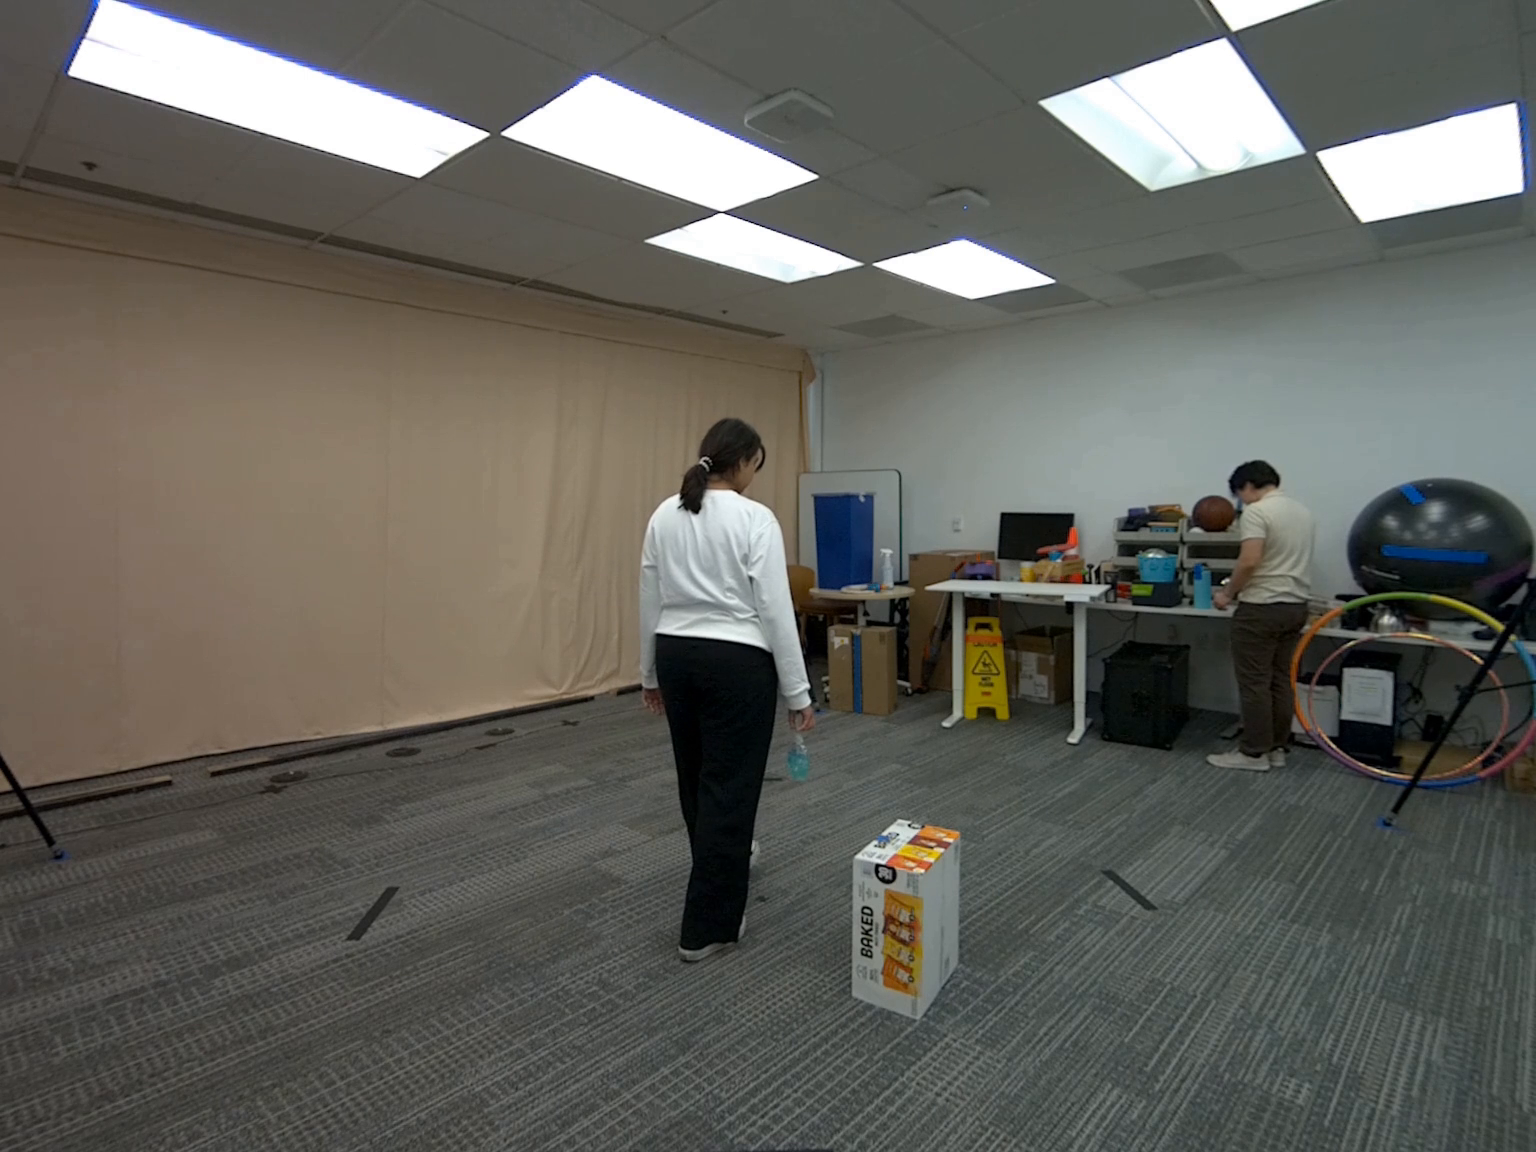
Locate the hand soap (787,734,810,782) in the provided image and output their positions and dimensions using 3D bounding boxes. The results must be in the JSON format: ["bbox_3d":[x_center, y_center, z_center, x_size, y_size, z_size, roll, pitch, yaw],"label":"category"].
[{"bbox_3d":[0.102,0.552,2.641,0.087,0.167,0.042,2,7,44],"label":"hand soap"}]
